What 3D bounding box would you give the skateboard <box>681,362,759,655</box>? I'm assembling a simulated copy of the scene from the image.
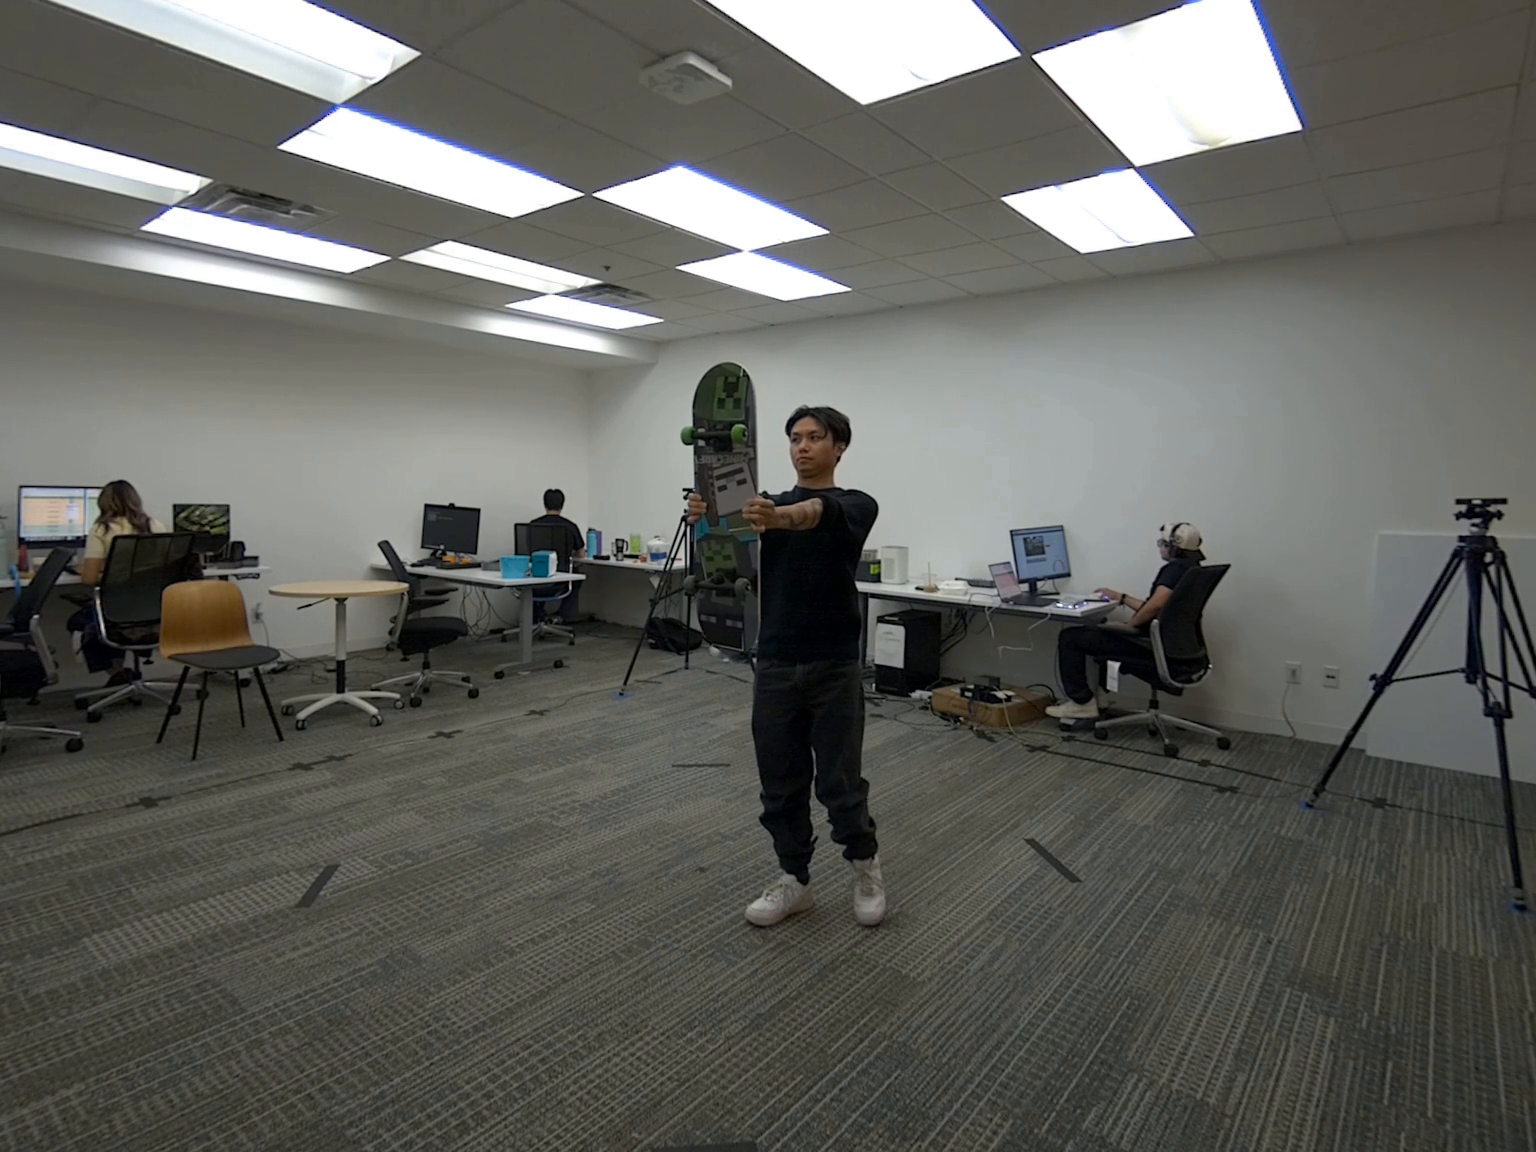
[{"bbox_3d":[-0.133,-0.171,2.263,0.199,0.782,0.108,2,5,28],"label":"skateboard"}]
